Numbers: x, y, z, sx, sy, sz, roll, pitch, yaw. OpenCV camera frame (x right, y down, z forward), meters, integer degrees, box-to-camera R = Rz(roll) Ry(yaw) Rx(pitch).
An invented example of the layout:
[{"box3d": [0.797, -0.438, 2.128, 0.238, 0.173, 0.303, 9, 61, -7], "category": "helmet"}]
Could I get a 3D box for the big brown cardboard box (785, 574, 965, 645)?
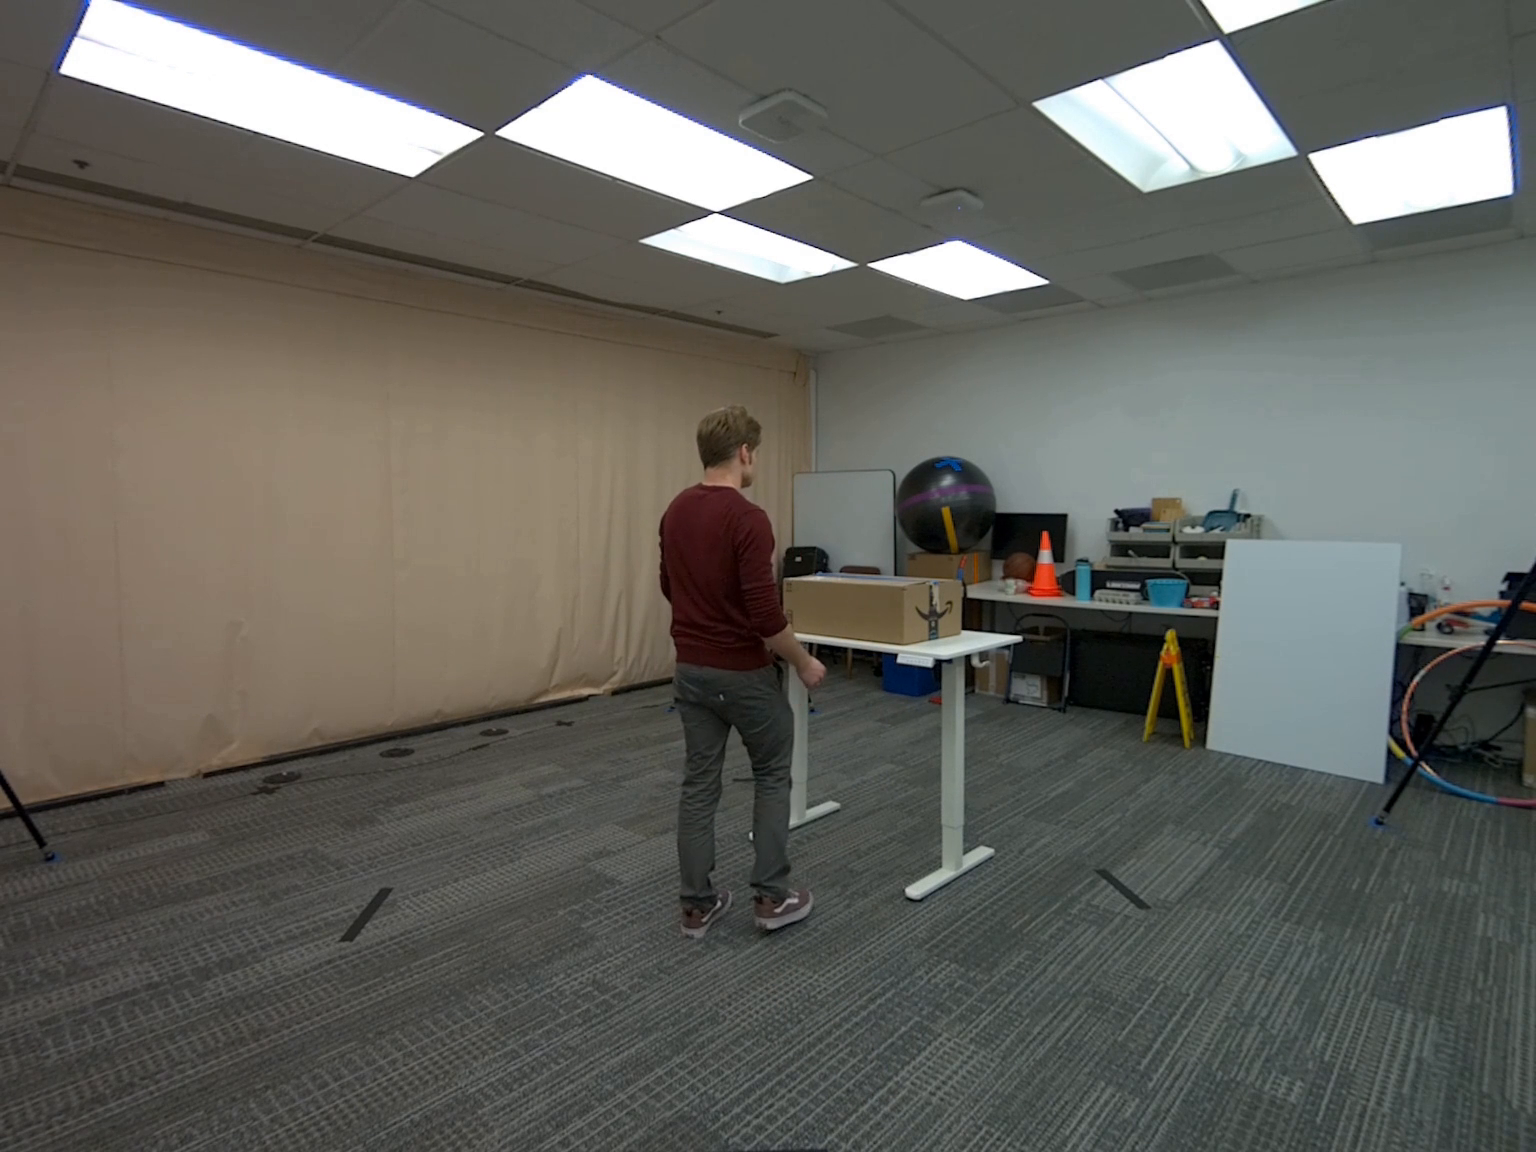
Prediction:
[{"box3d": [0.409, 0.119, 3.369, 0.609, 0.232, 0.405, 4, 6, 43], "category": "big brown cardboard box"}]
